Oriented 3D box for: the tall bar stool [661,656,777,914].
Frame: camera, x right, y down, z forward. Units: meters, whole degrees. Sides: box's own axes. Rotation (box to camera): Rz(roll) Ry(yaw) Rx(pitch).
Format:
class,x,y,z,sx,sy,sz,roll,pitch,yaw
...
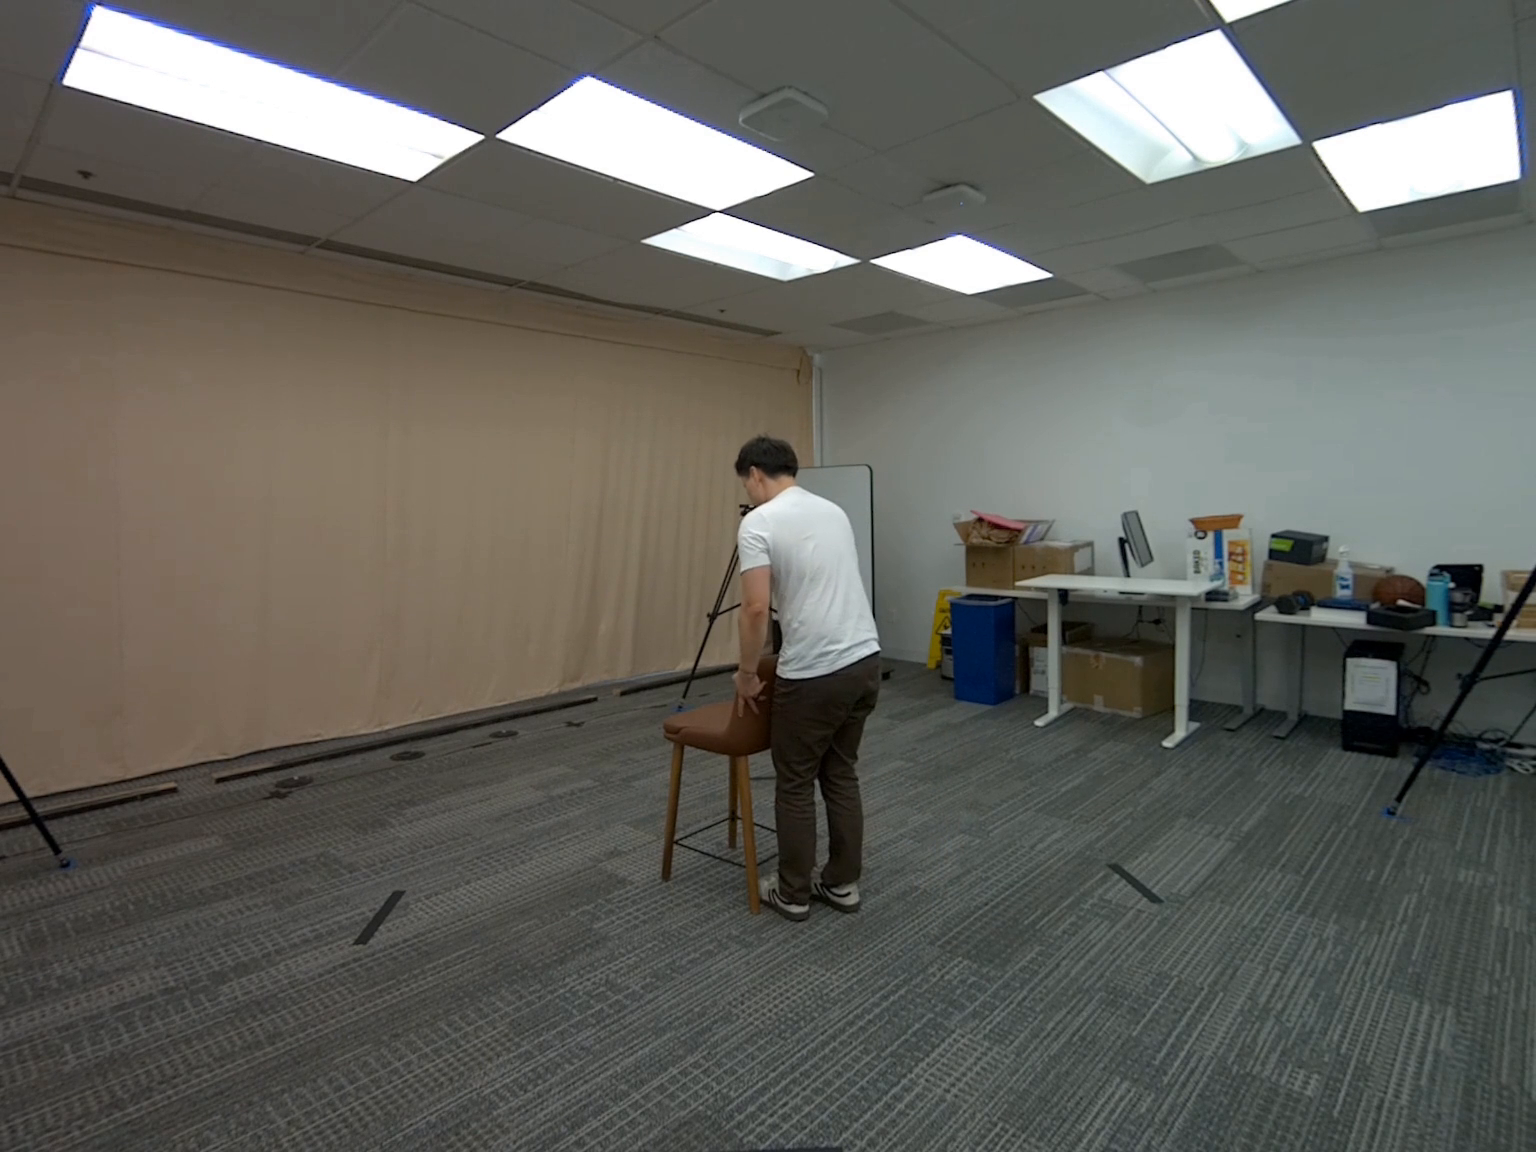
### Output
class,x,y,z,sx,sy,sz,roll,pitch,yaw
tall bar stool,-0.102,0.689,3.118,0.483,0.887,0.443,5,6,41
